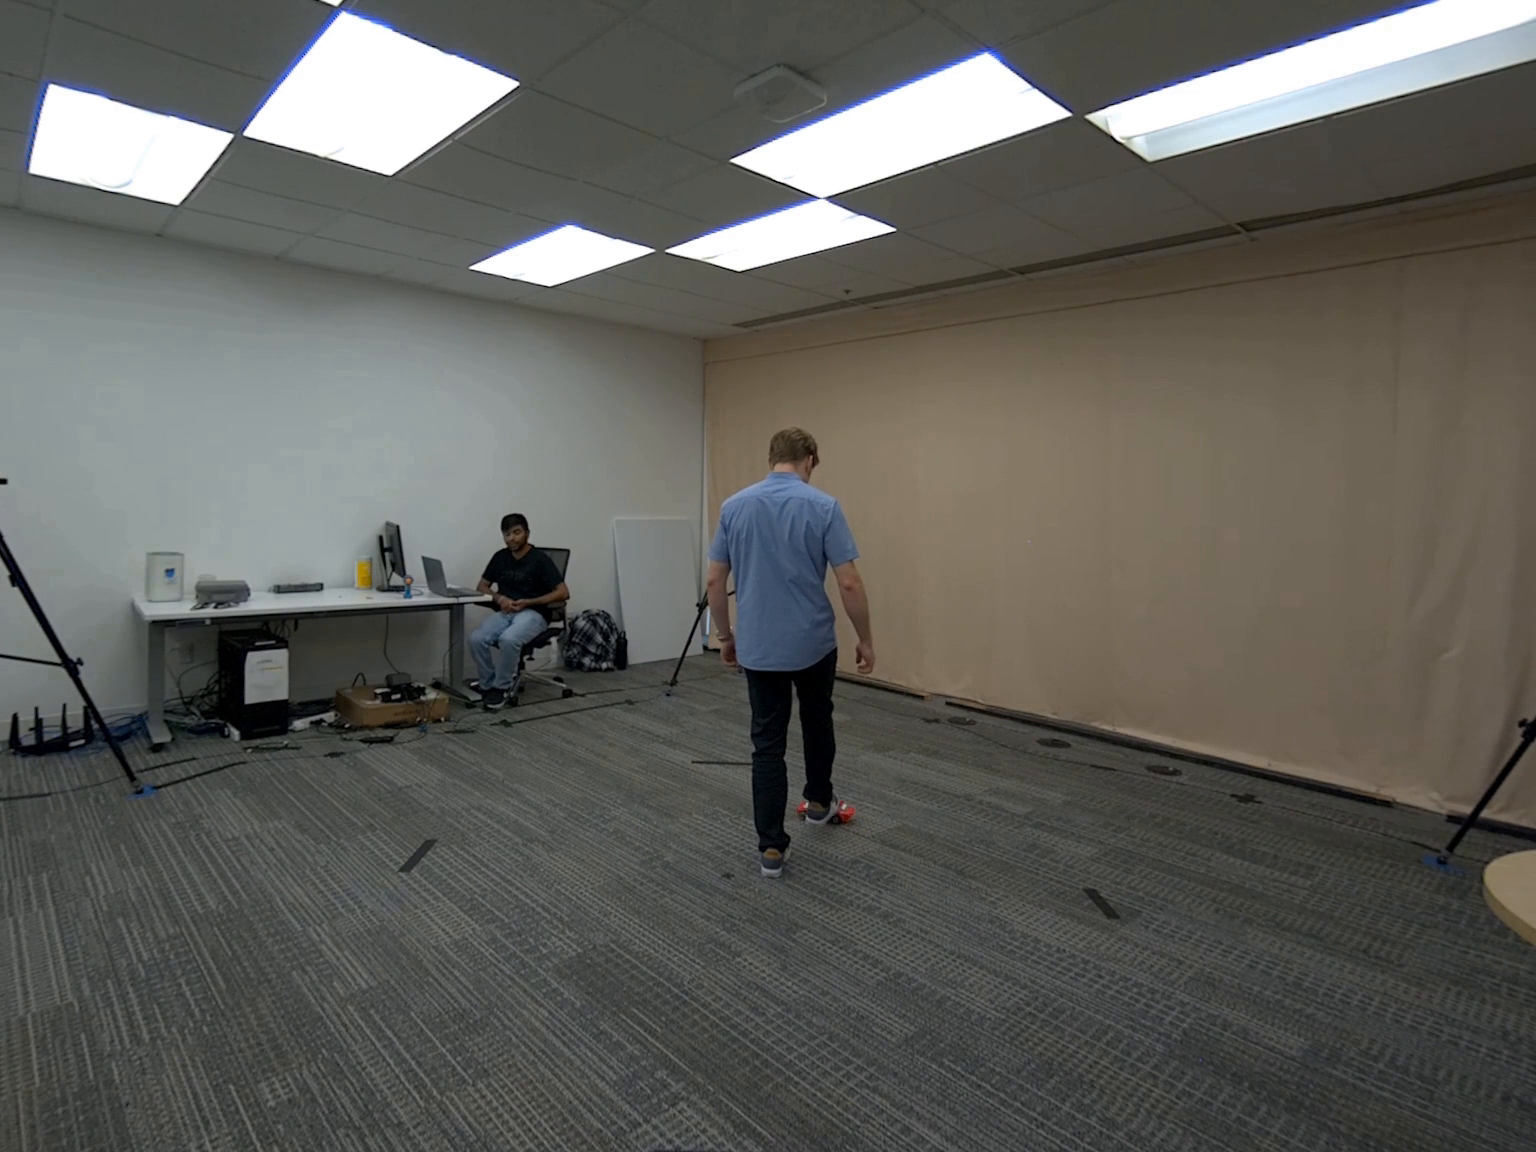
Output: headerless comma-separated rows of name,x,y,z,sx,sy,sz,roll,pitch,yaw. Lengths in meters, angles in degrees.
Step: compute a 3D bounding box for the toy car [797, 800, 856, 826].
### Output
toy car,0.255,1.038,3.696,0.258,0.083,0.129,-9,1,19
